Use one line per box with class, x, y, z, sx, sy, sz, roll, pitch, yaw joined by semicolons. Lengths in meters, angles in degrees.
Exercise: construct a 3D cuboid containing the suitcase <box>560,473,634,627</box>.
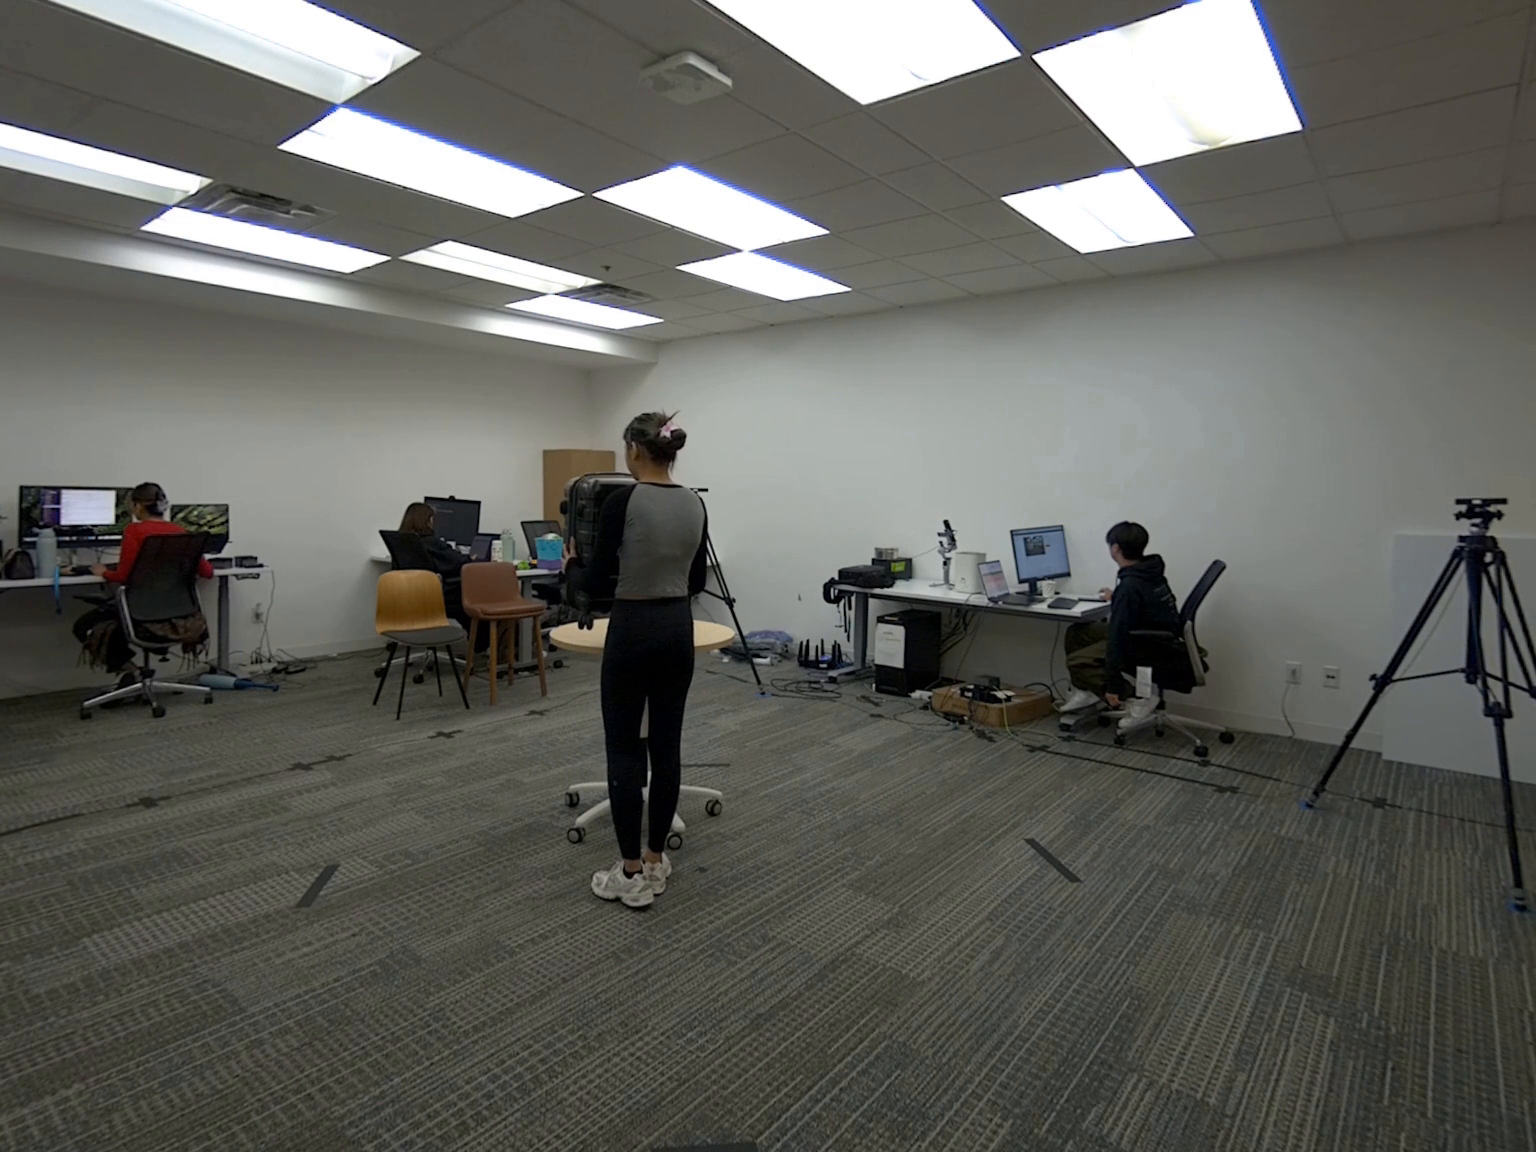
suitcase;-0.586;-0.110;3.182;0.364;0.547;0.257;0;6;-35
